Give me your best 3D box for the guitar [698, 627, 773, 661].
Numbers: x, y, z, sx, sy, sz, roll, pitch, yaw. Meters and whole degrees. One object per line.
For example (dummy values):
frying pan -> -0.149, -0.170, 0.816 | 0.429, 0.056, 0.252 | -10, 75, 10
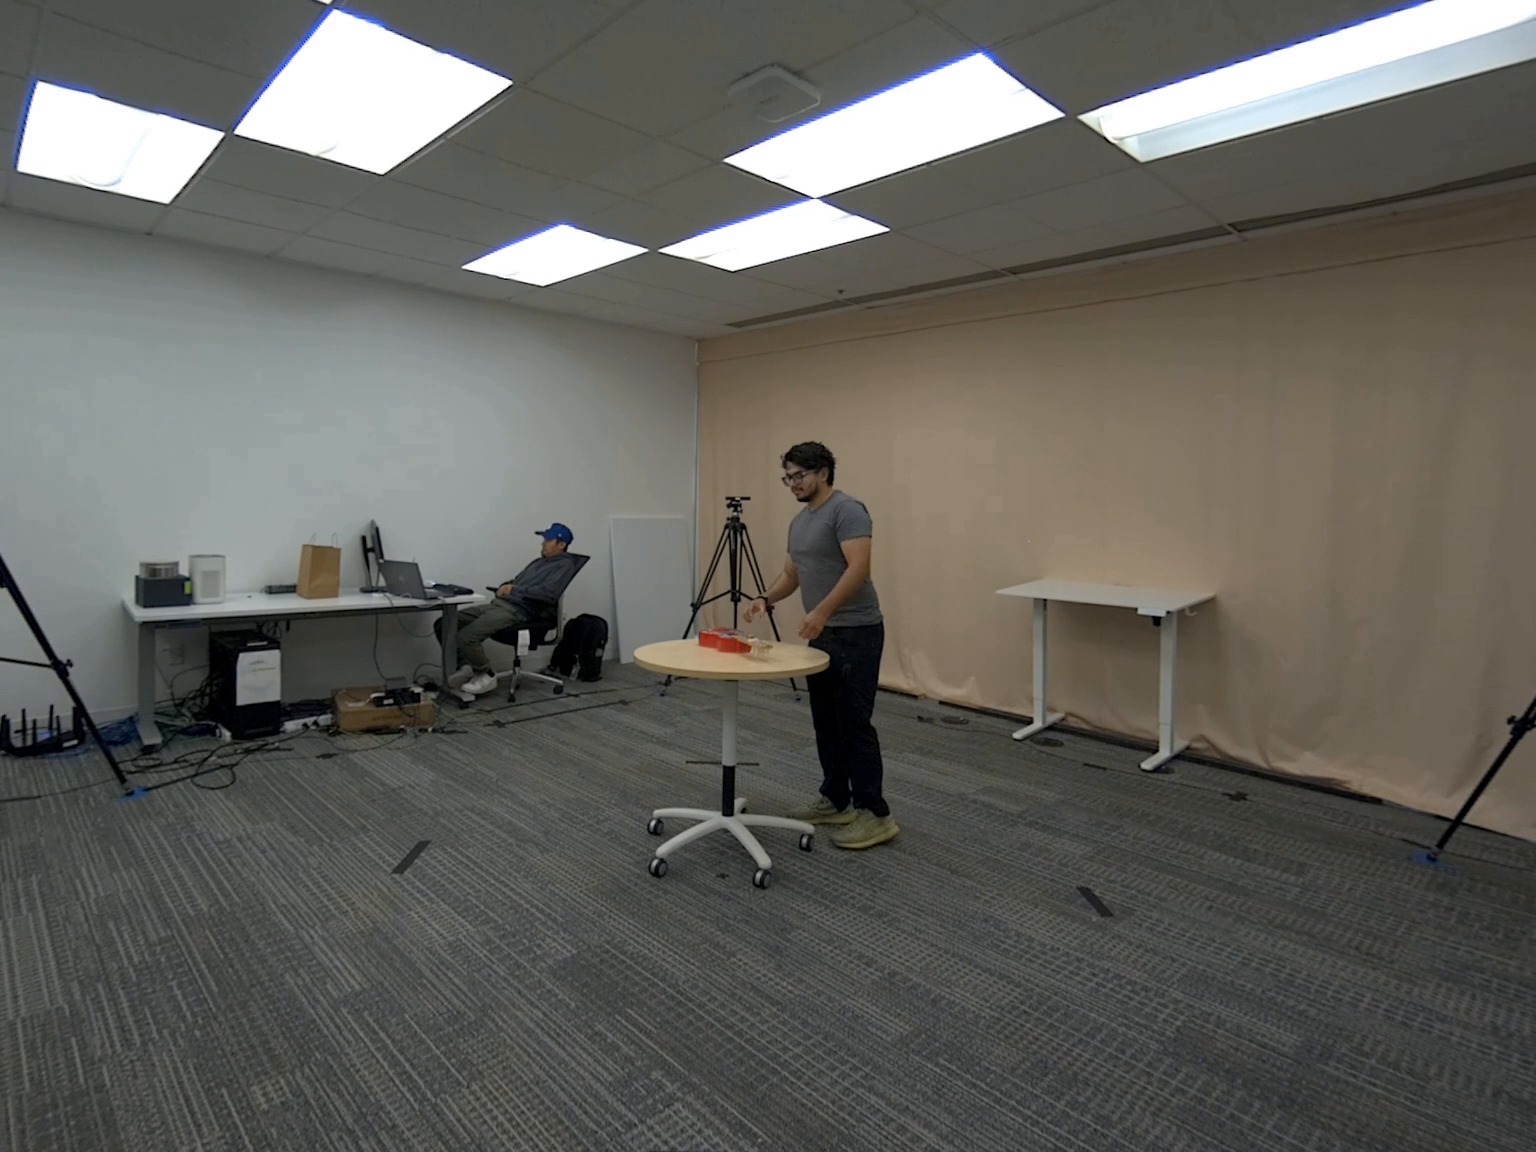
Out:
guitar -> -0.147, 0.269, 3.339 | 0.190, 0.070, 0.505 | 1, 4, -17
